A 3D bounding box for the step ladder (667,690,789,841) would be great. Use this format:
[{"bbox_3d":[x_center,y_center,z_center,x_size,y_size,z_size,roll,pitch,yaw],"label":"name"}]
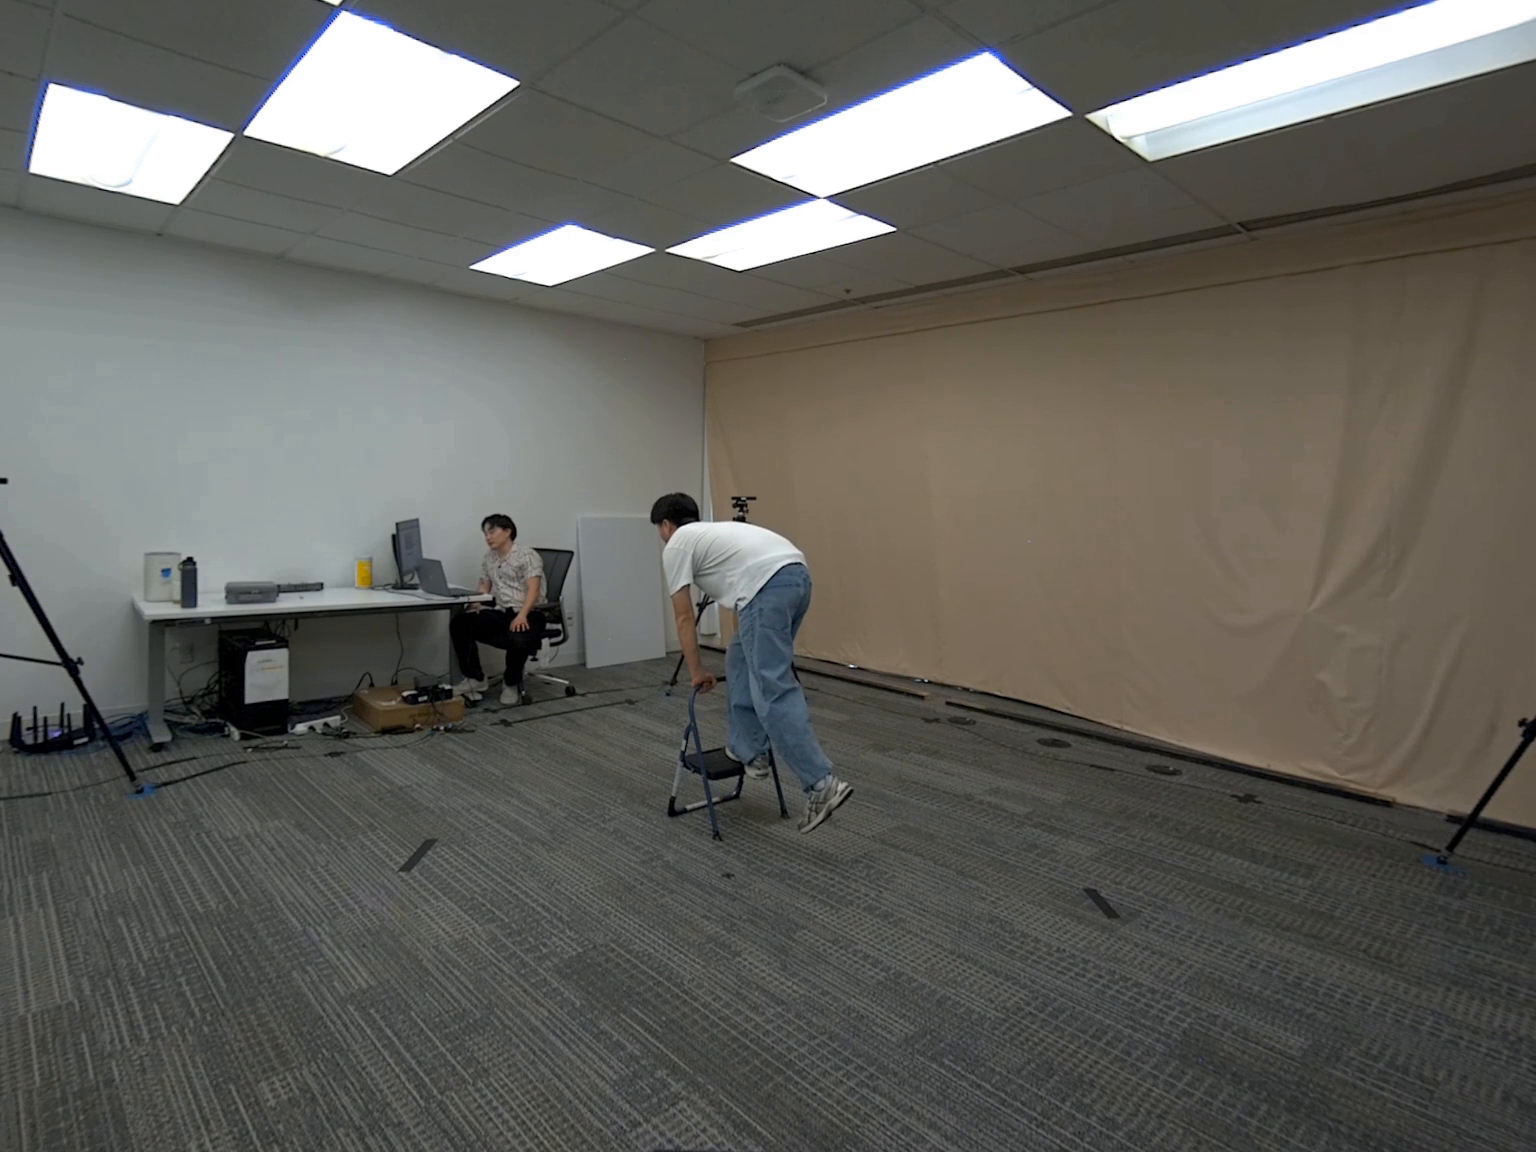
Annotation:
[{"bbox_3d":[-0.175,0.753,3.675,0.421,0.604,0.358,-2,5,-44],"label":"step ladder"}]
